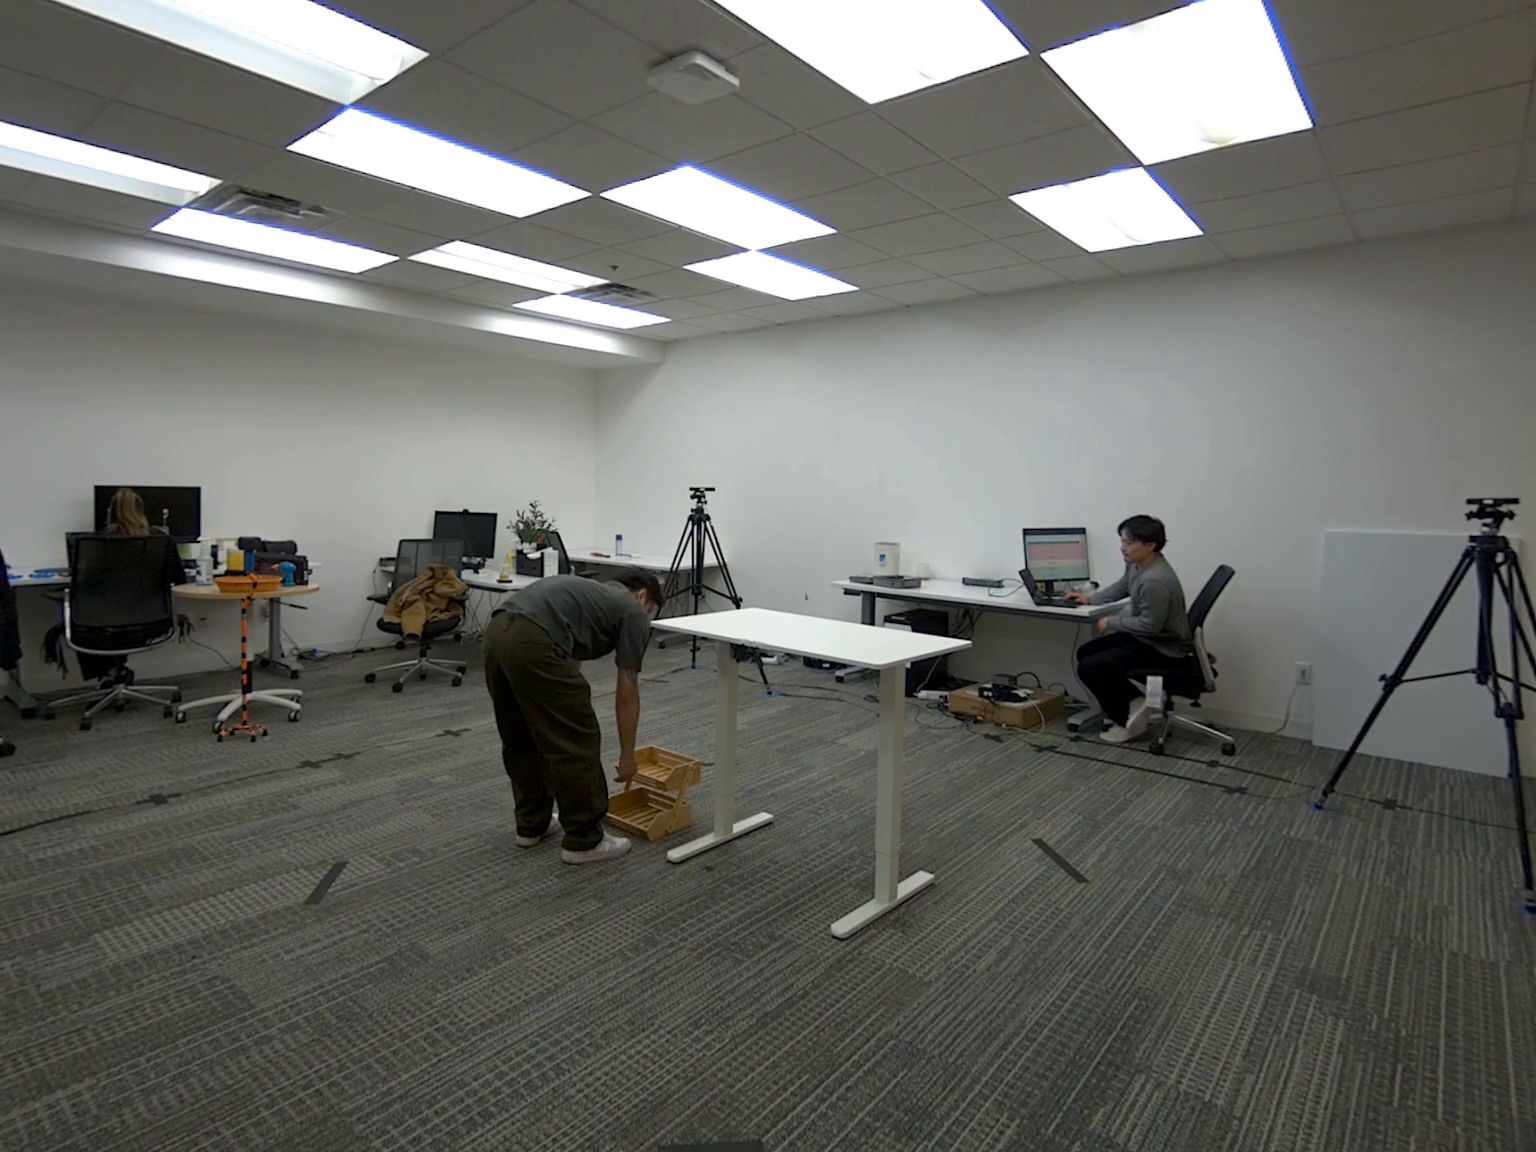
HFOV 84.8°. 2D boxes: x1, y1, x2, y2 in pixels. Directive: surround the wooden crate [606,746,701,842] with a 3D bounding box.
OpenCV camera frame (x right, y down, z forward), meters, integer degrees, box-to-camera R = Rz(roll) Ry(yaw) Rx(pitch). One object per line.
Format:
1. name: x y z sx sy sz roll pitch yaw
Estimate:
1. wooden crate: -0.505 0.887 3.534 0.335 0.272 0.293 5 5 40
